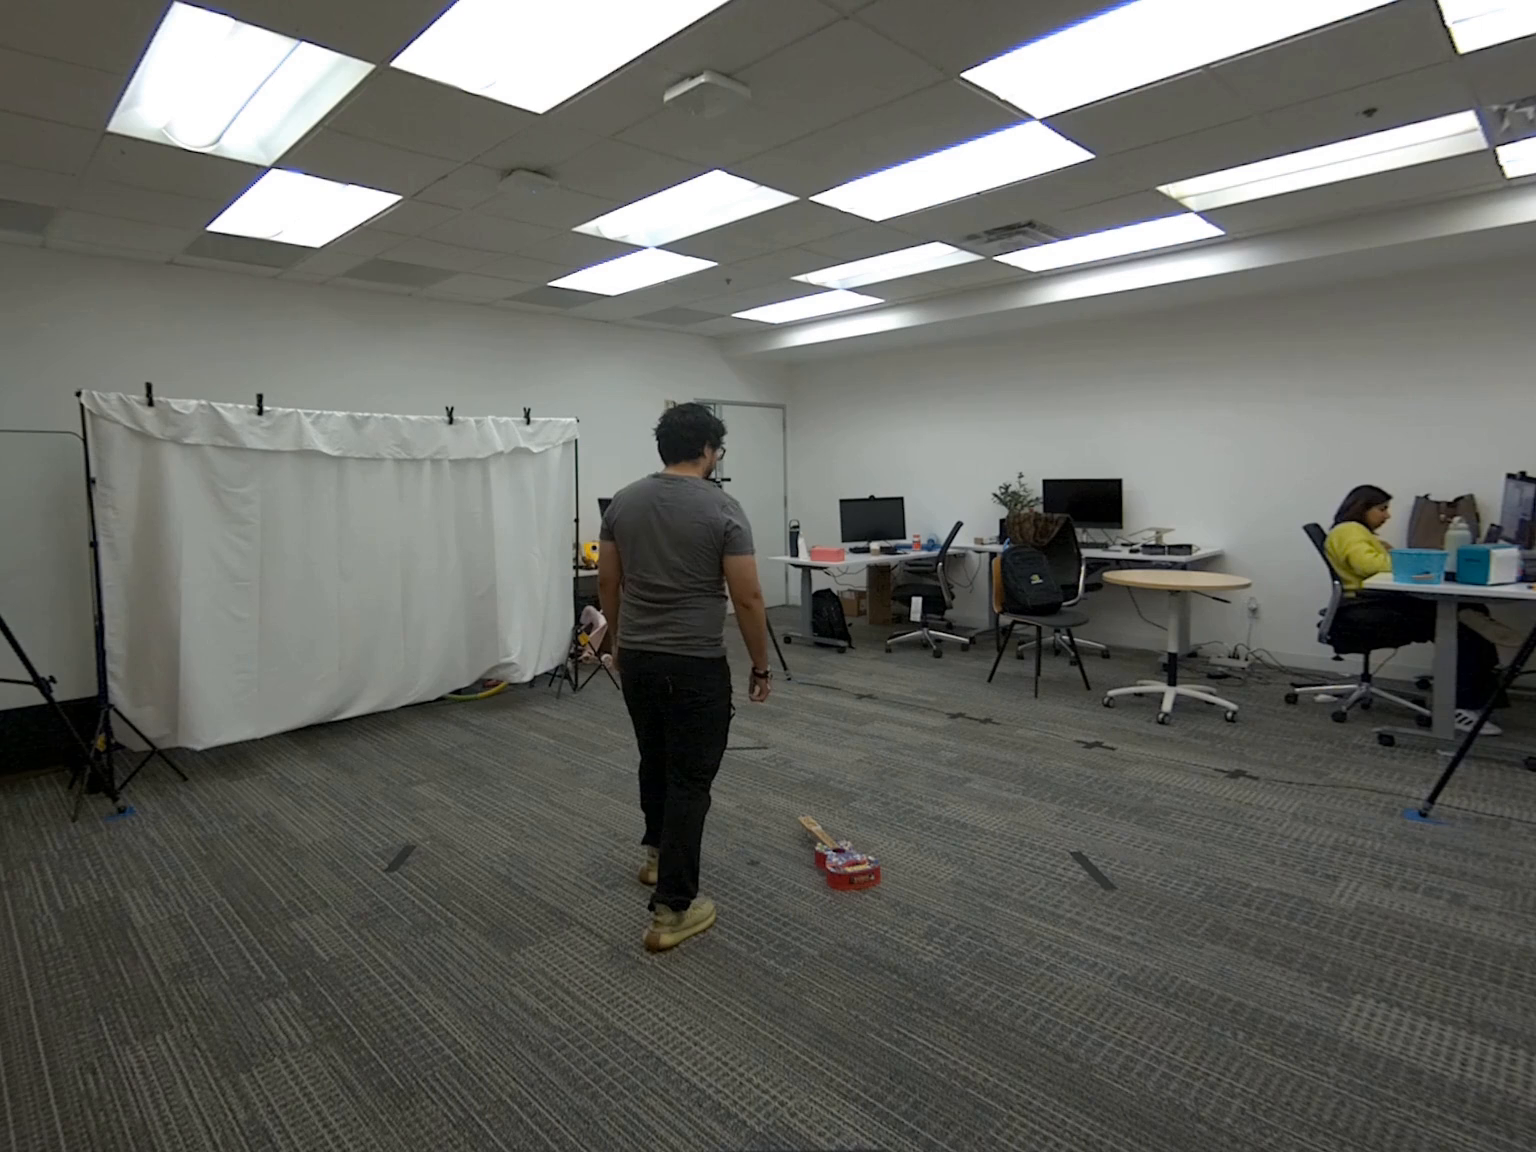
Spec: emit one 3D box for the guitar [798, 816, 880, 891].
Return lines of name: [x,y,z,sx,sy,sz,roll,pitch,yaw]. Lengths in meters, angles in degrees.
guitar: [0.257,1.000,3.136,0.191,0.070,0.505,-3,7,-11]
